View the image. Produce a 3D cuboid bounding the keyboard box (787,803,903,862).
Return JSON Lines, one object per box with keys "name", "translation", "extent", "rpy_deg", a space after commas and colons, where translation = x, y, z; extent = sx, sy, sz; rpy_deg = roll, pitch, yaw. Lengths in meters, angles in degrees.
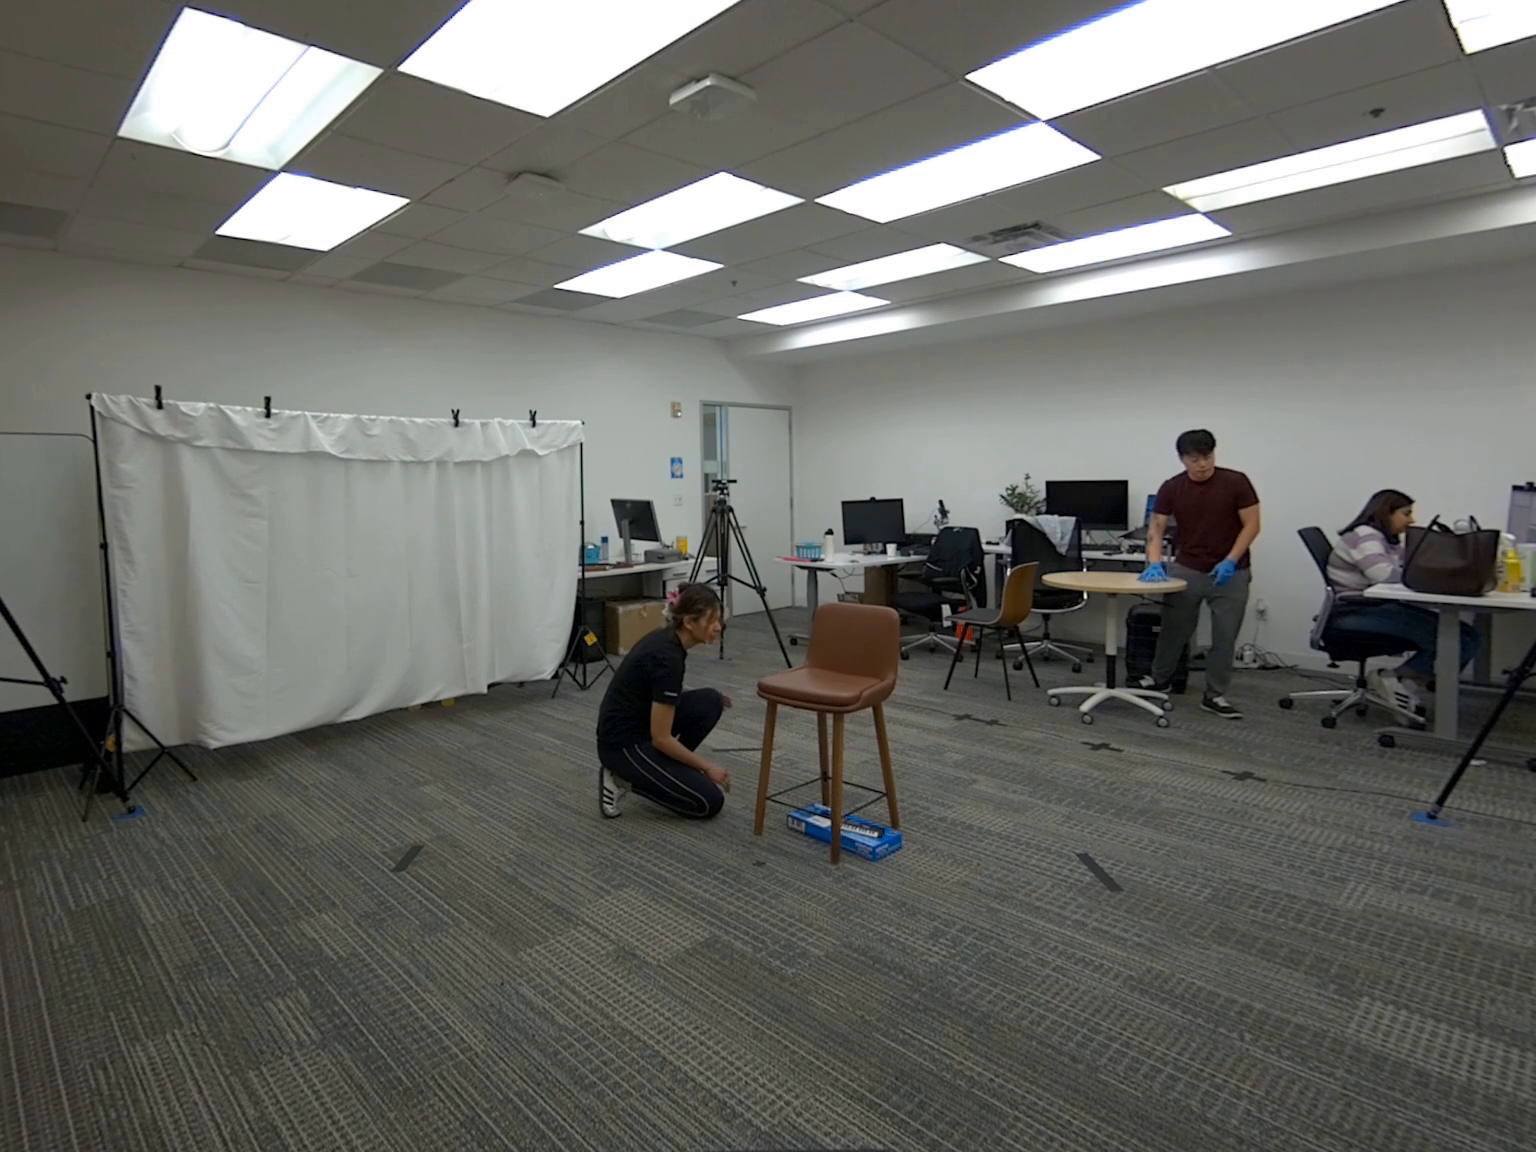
{"name": "keyboard box", "translation": [0.289, 0.981, 3.314], "extent": [0.171, 0.059, 0.450], "rpy_deg": [-7, 9, -44]}
